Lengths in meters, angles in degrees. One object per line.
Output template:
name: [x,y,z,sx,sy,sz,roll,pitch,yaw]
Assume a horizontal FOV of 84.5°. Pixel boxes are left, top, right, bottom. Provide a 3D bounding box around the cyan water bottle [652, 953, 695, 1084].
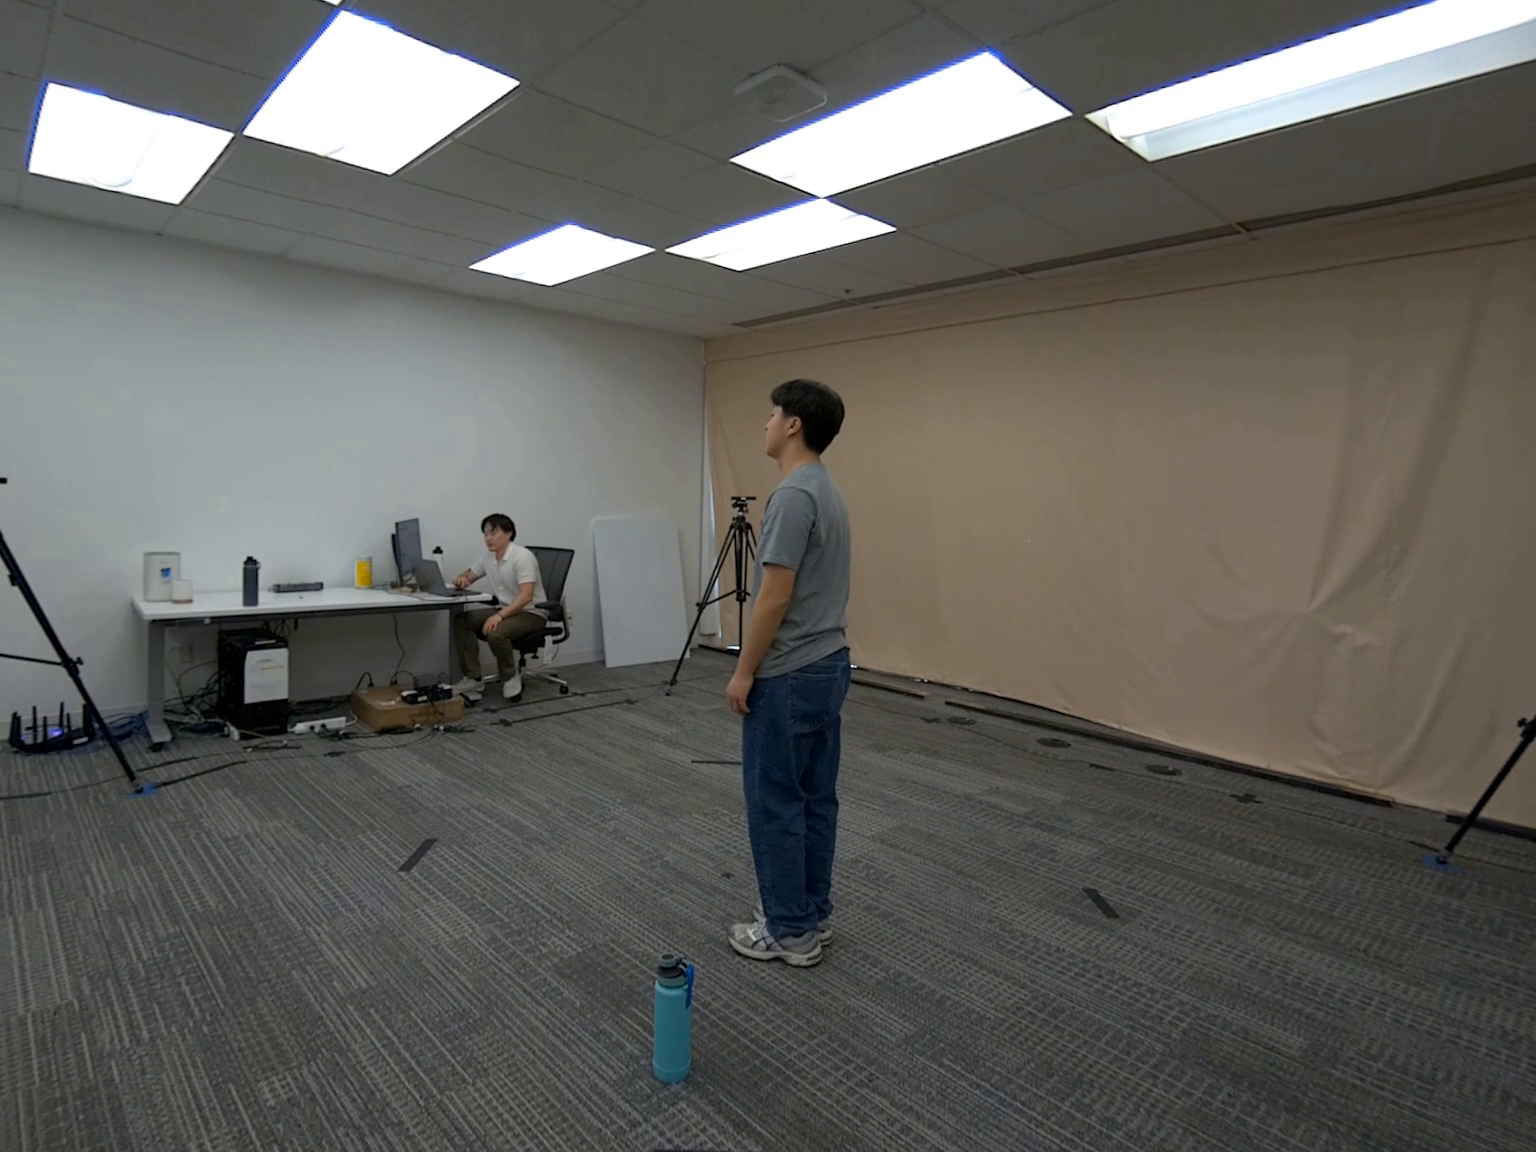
cyan water bottle: [-0.233,1.063,2.031,0.092,0.283,0.092,3,1,-1]
